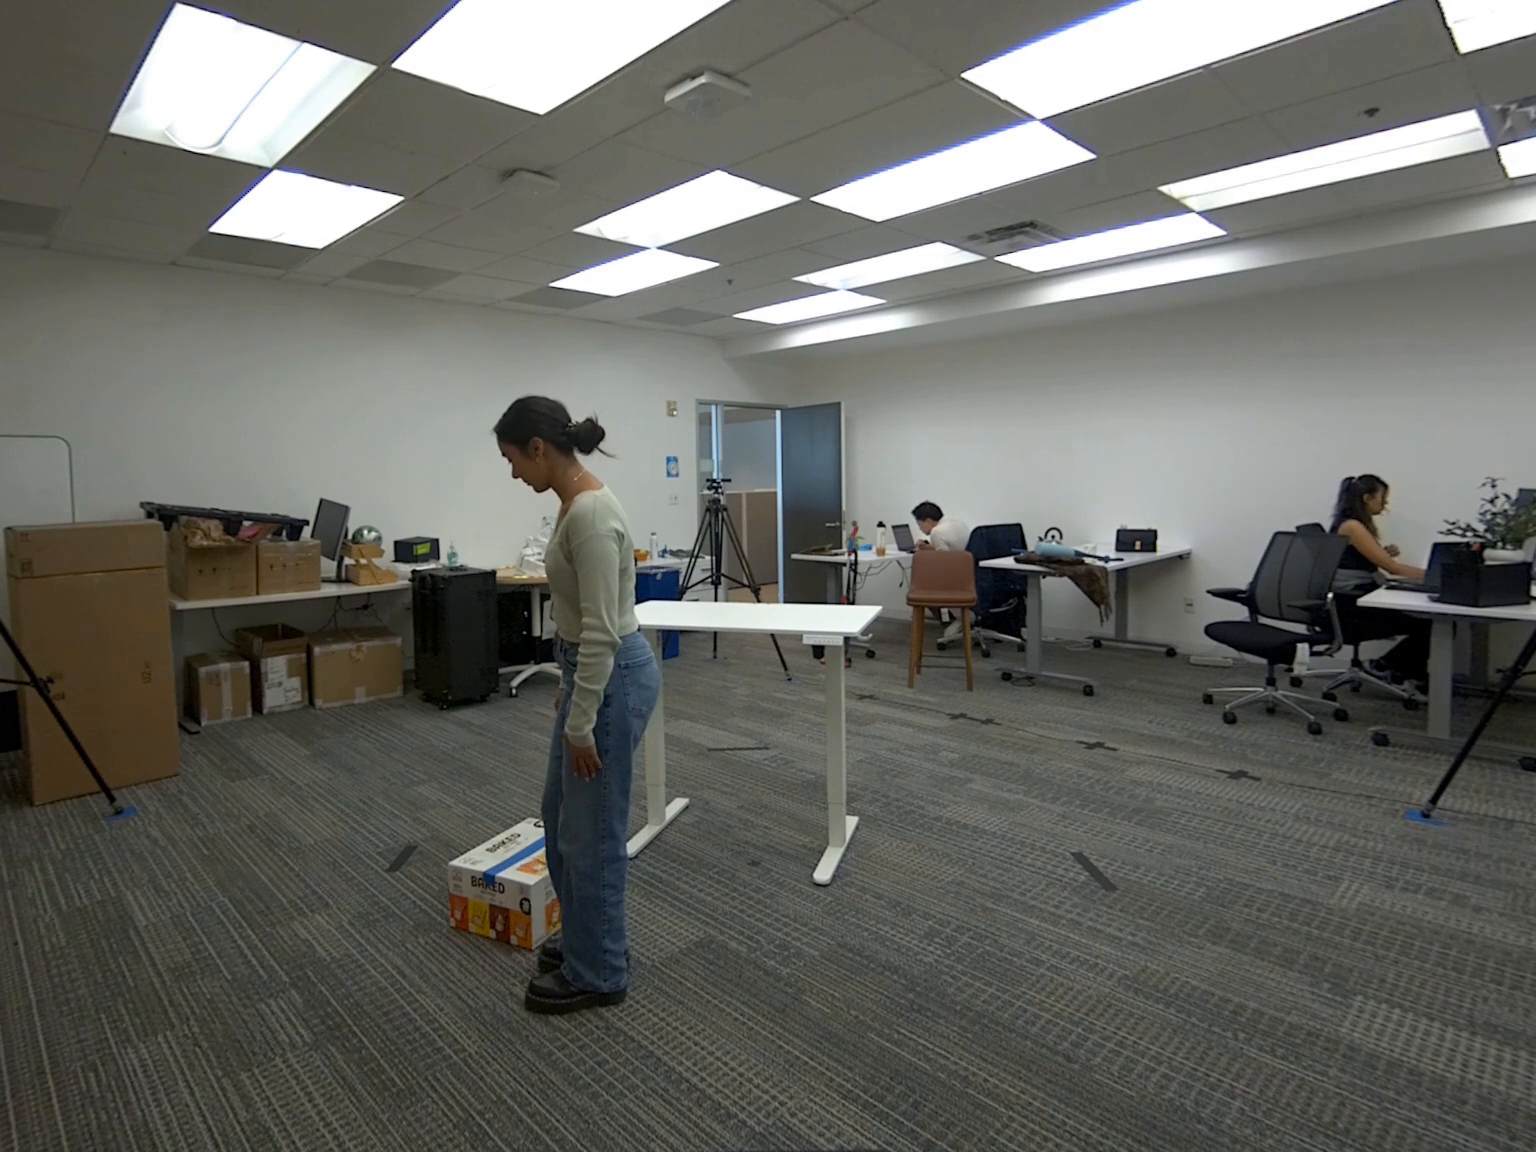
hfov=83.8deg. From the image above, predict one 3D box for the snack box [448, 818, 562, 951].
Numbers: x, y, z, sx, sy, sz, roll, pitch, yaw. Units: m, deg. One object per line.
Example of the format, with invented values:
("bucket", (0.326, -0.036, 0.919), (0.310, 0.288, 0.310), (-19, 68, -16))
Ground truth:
("snack box", (-0.773, 0.992, 2.800), (0.348, 0.205, 0.398), (2, 7, 25))
